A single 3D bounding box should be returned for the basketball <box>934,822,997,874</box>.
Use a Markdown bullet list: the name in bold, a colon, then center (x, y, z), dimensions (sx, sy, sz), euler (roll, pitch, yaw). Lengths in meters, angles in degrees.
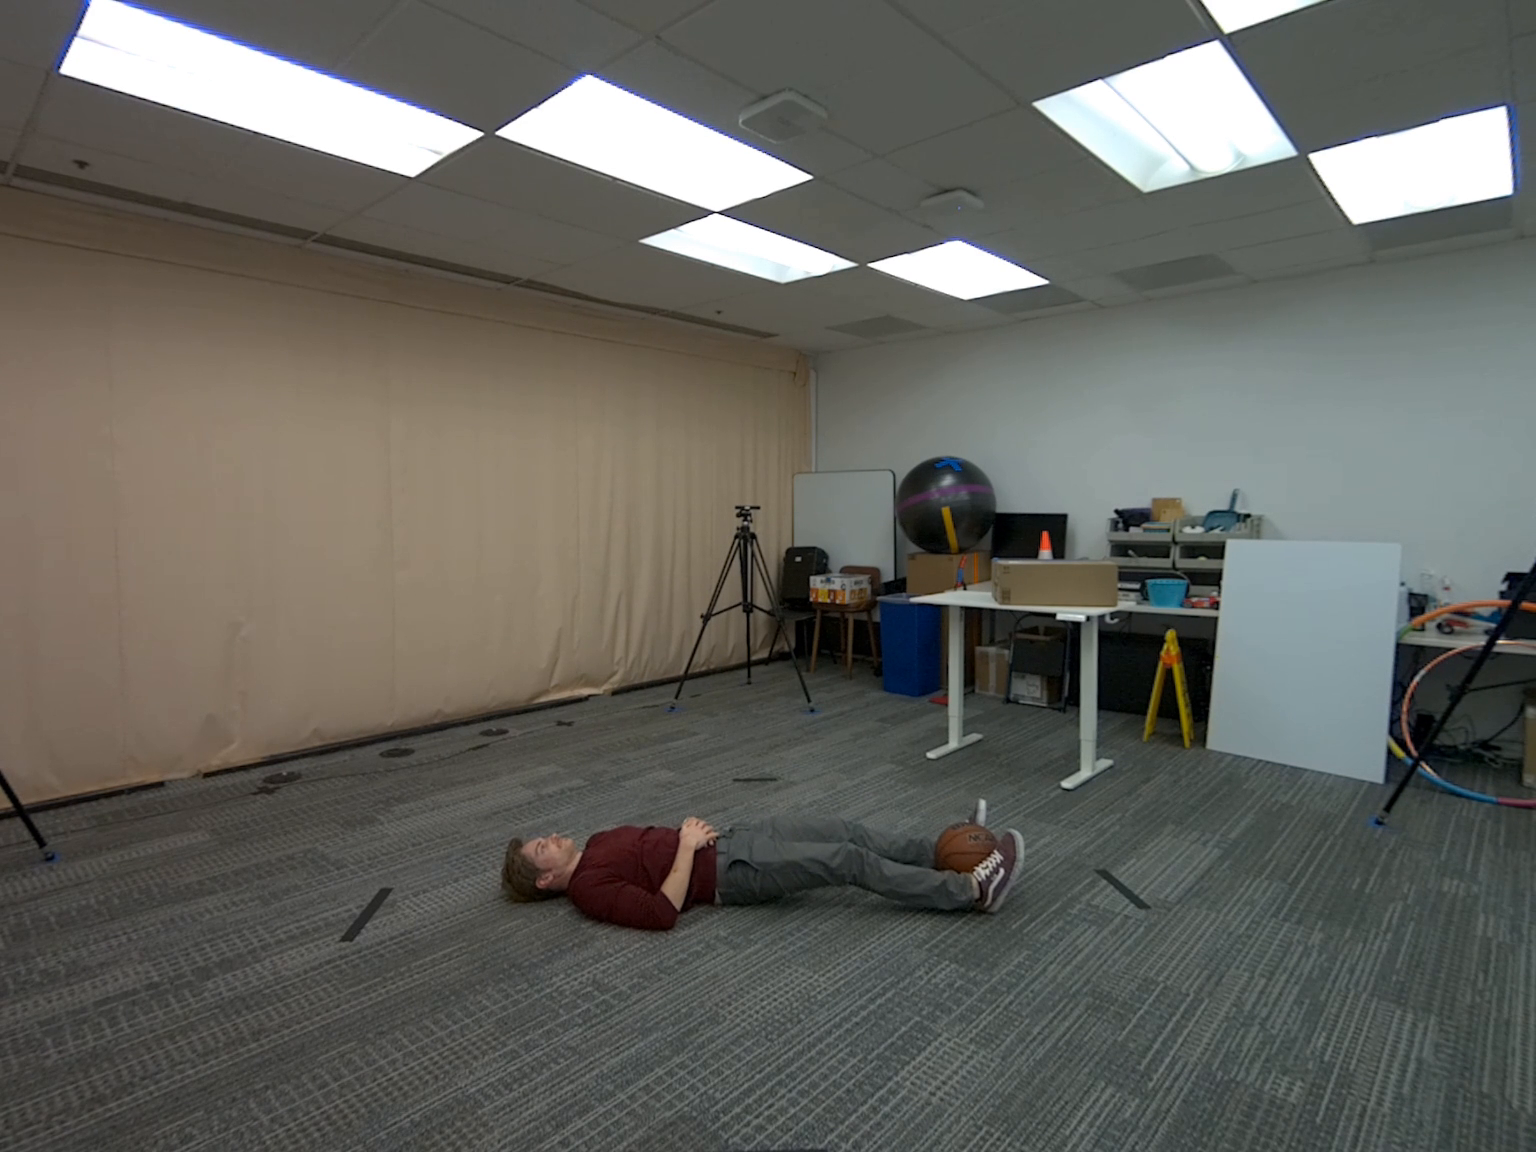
- **basketball**: center (0.723, 1.006, 3.011), dimensions (0.235, 0.235, 0.237), euler (3, 5, -2)
